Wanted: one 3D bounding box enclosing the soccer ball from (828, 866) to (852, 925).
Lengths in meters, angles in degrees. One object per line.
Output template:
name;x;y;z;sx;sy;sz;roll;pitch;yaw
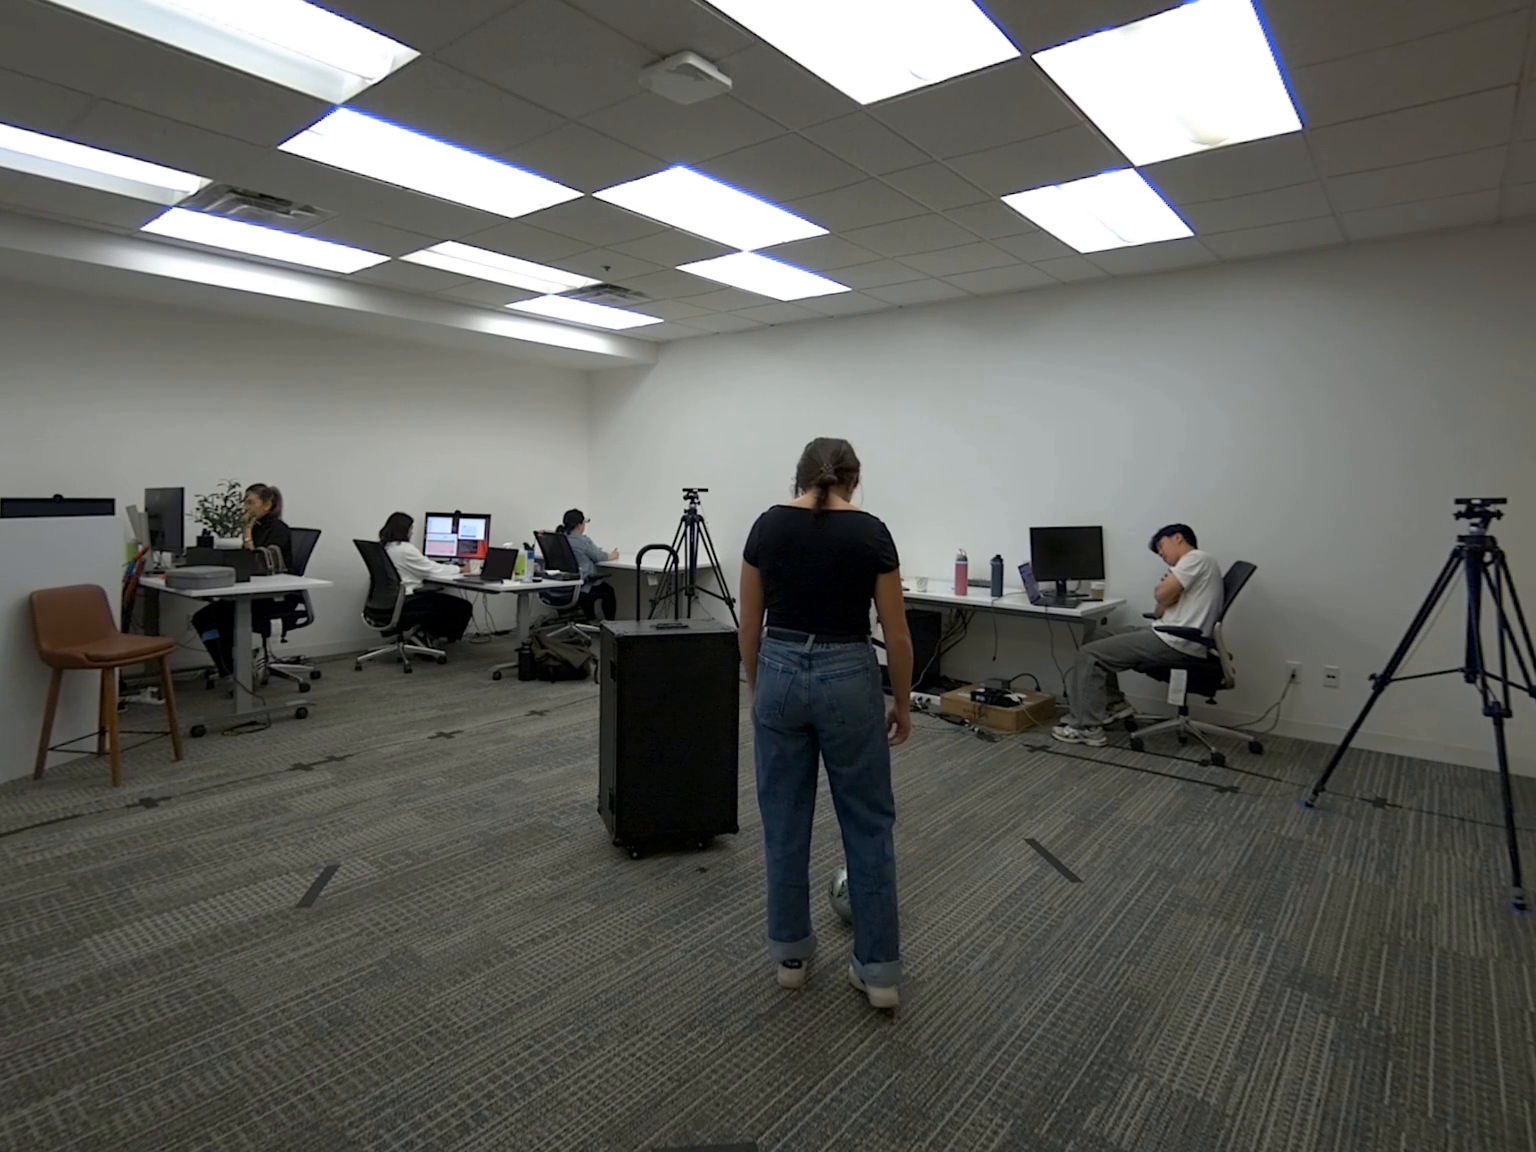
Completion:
soccer ball;0.295;1.015;2.753;0.187;0.187;0.188;1;4;-2
